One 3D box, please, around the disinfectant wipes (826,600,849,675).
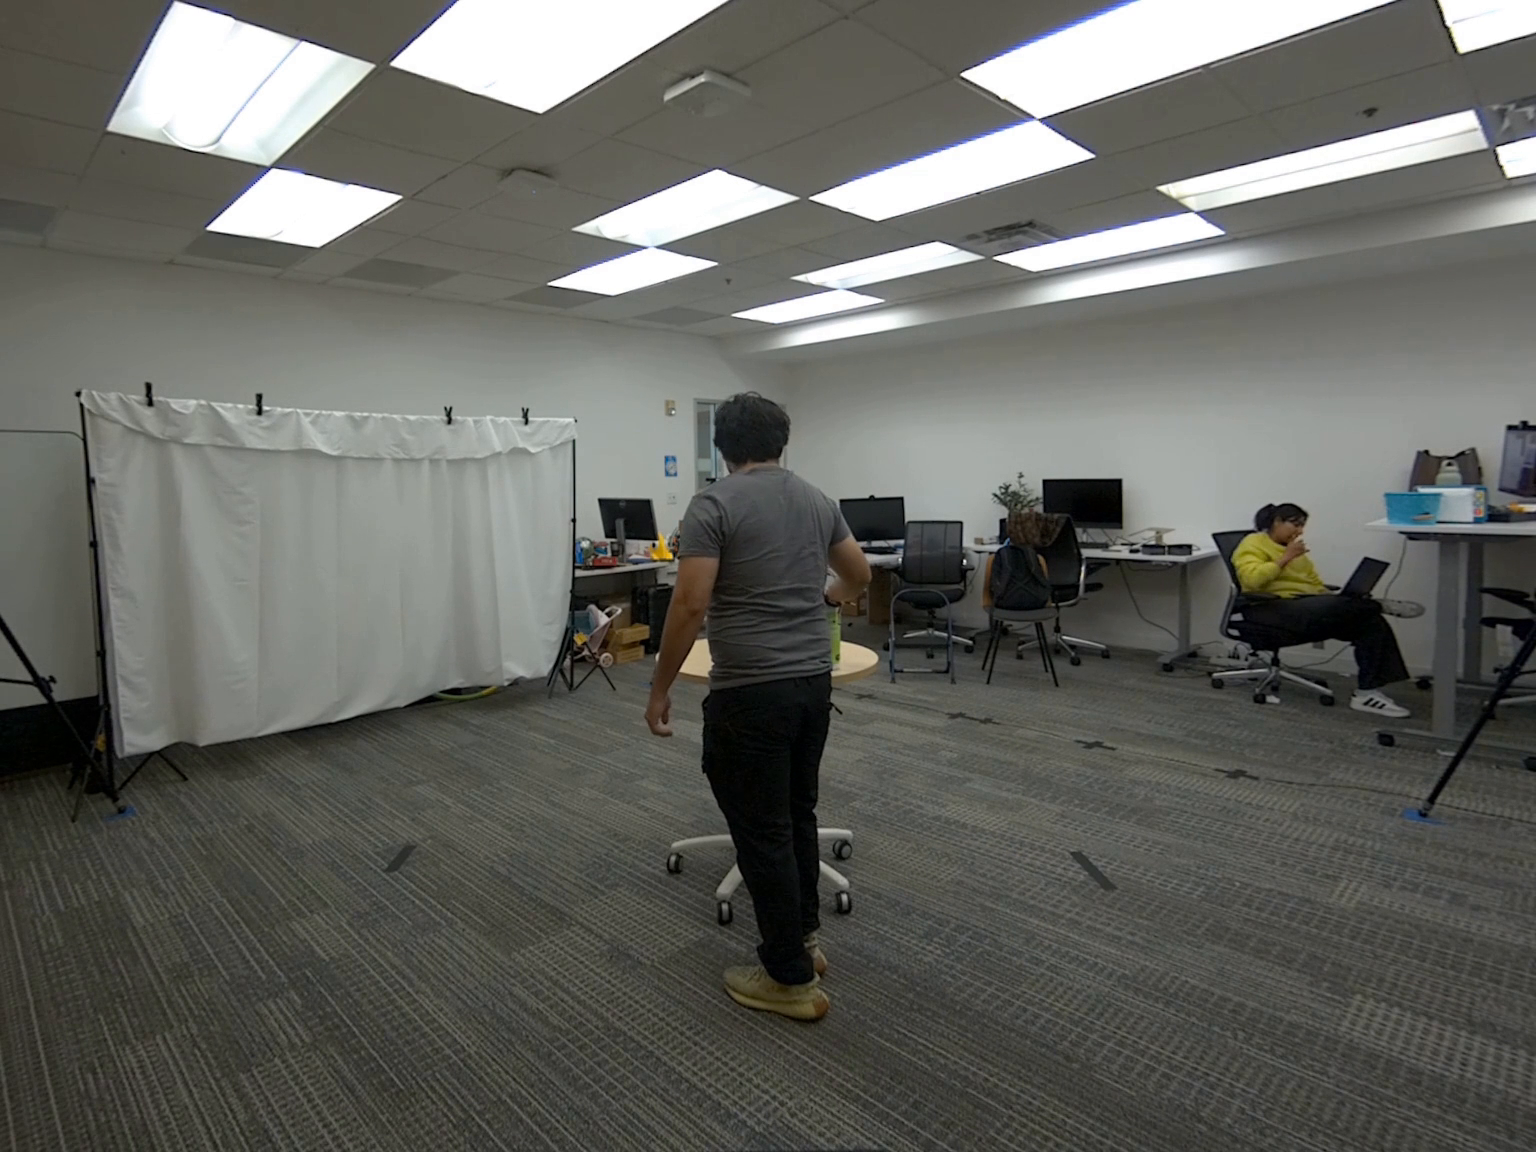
[{"bbox_3d":[0.186,0.191,2.746,0.118,0.217,0.118,2,4,-2],"label":"disinfectant wipes"}]
